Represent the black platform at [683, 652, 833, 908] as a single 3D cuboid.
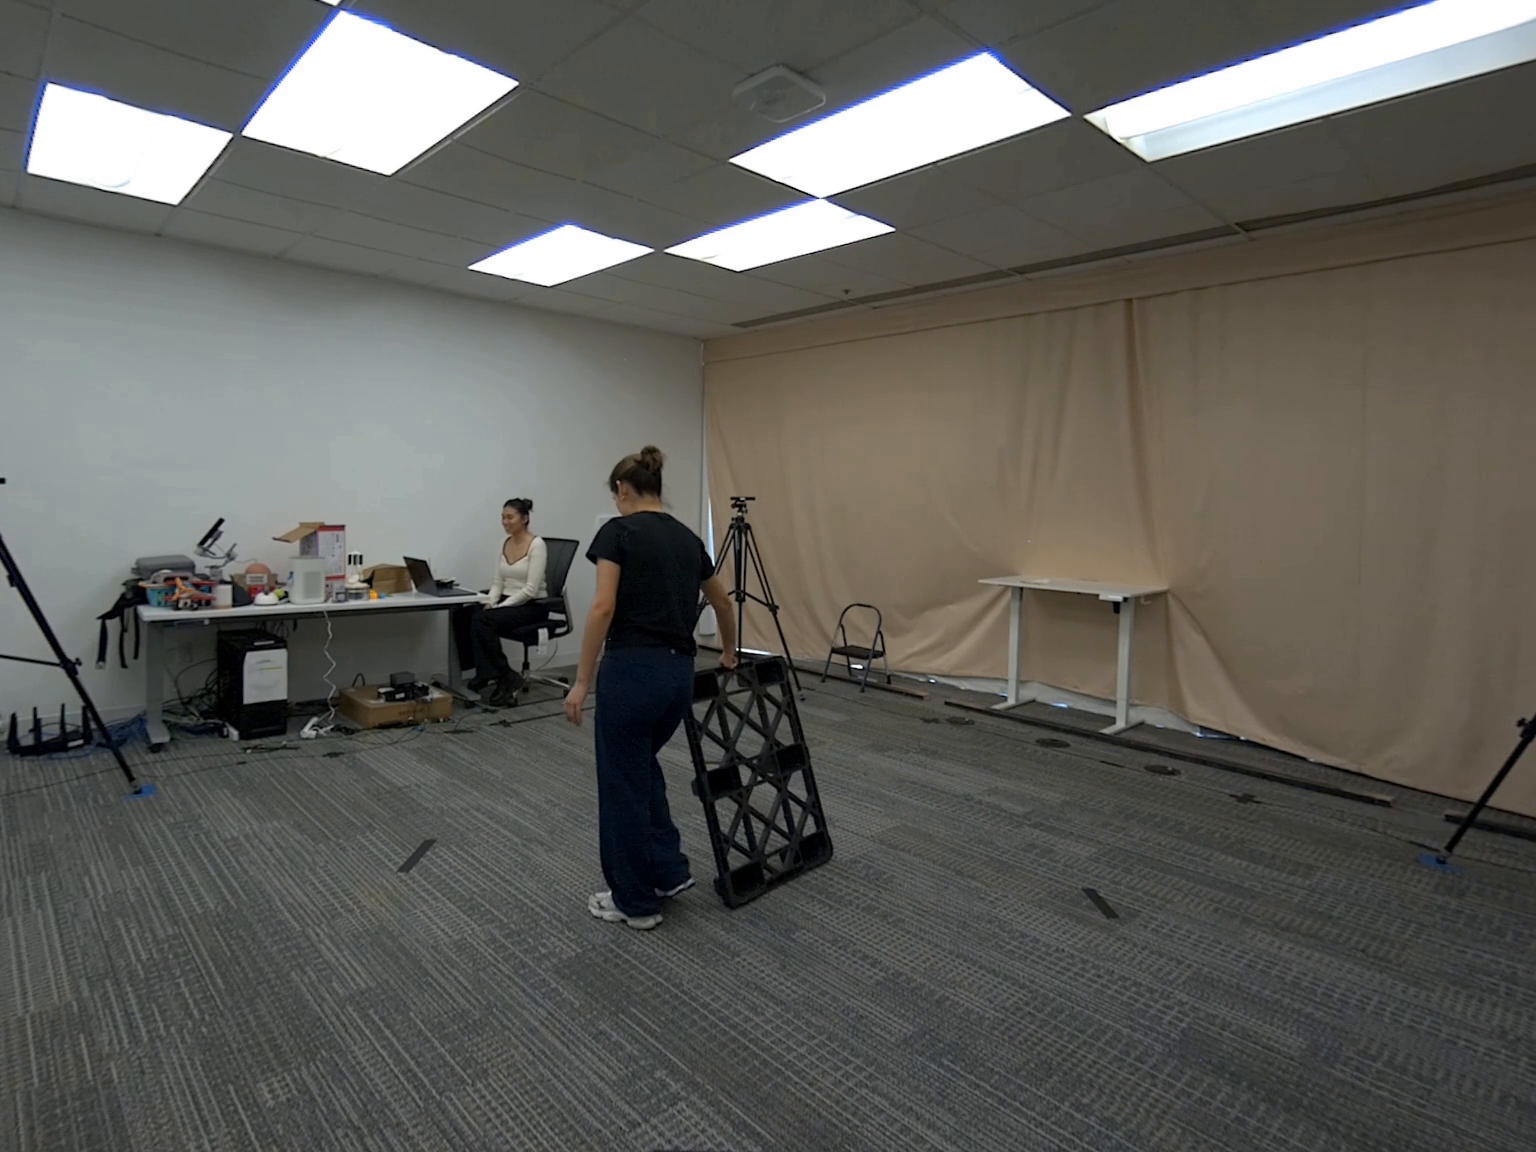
[{"bbox_3d":[-0.079,0.738,3.146,0.145,0.813,0.591,-23,-13,39],"label":"black platform"}]
